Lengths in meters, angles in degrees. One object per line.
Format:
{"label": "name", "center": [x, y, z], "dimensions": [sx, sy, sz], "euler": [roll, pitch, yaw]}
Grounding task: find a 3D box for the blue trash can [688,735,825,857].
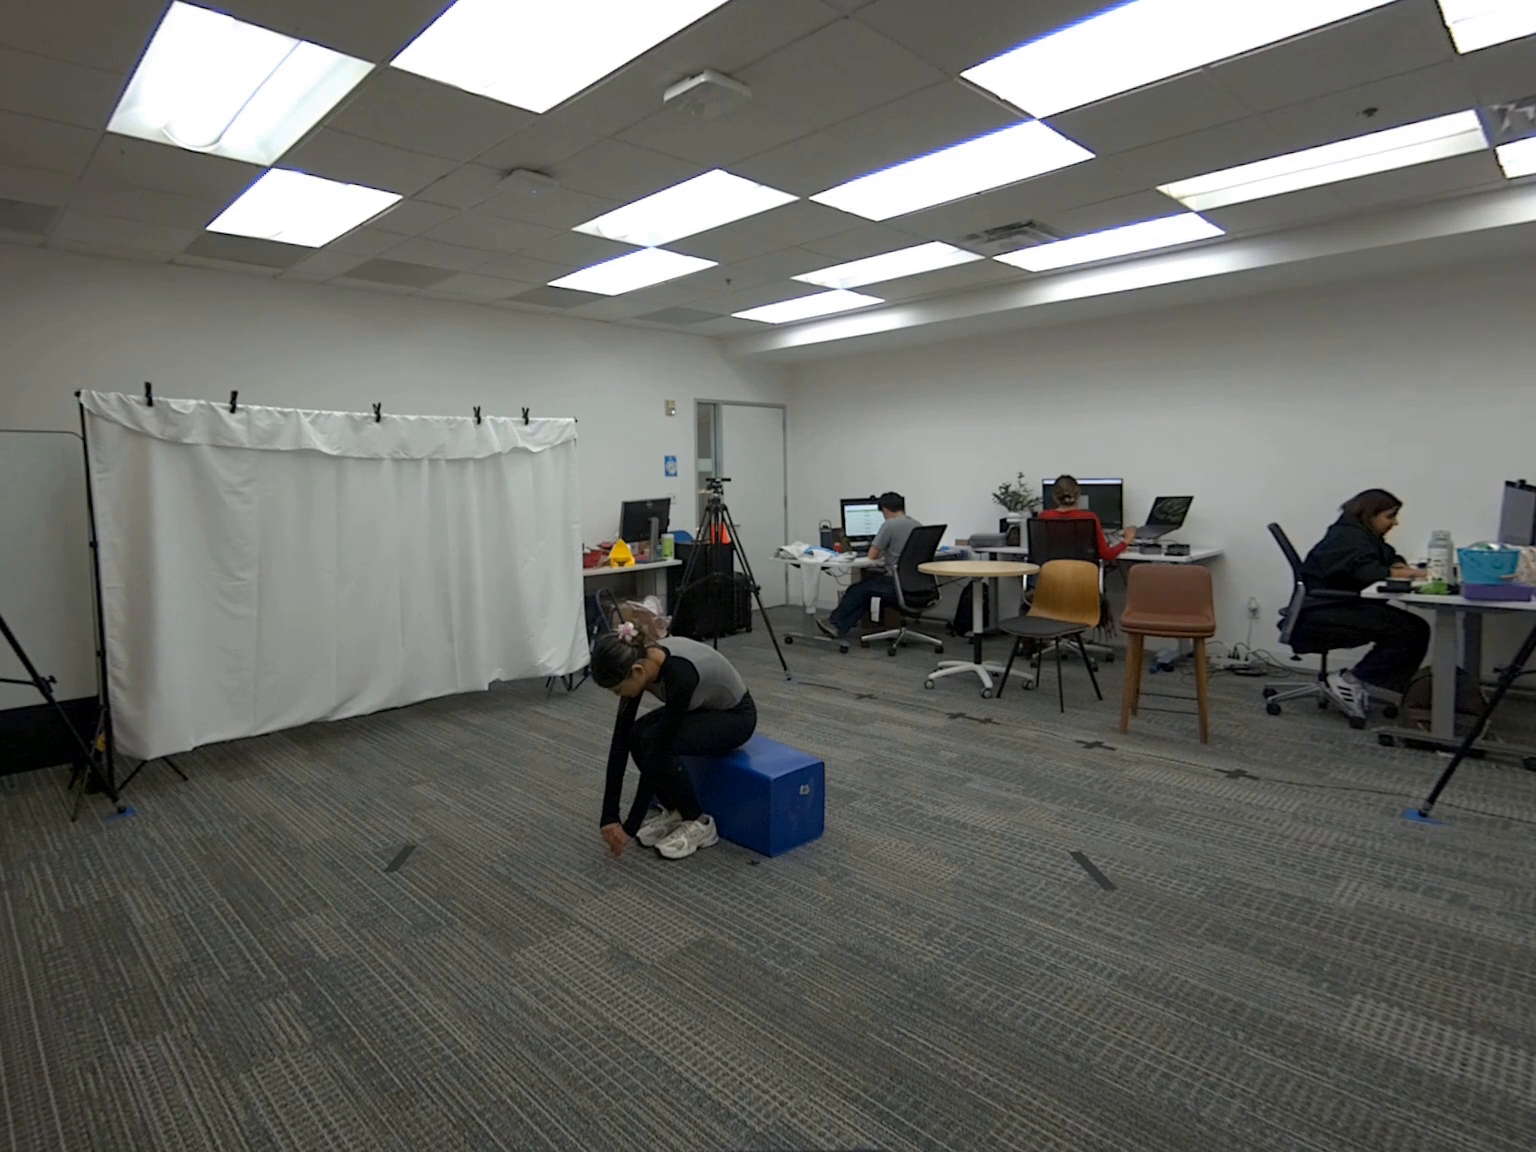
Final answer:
{"label": "blue trash can", "center": [-0.132, 0.825, 3.487], "dimensions": [0.368, 0.372, 0.736], "euler": [-5, 9, -45]}
